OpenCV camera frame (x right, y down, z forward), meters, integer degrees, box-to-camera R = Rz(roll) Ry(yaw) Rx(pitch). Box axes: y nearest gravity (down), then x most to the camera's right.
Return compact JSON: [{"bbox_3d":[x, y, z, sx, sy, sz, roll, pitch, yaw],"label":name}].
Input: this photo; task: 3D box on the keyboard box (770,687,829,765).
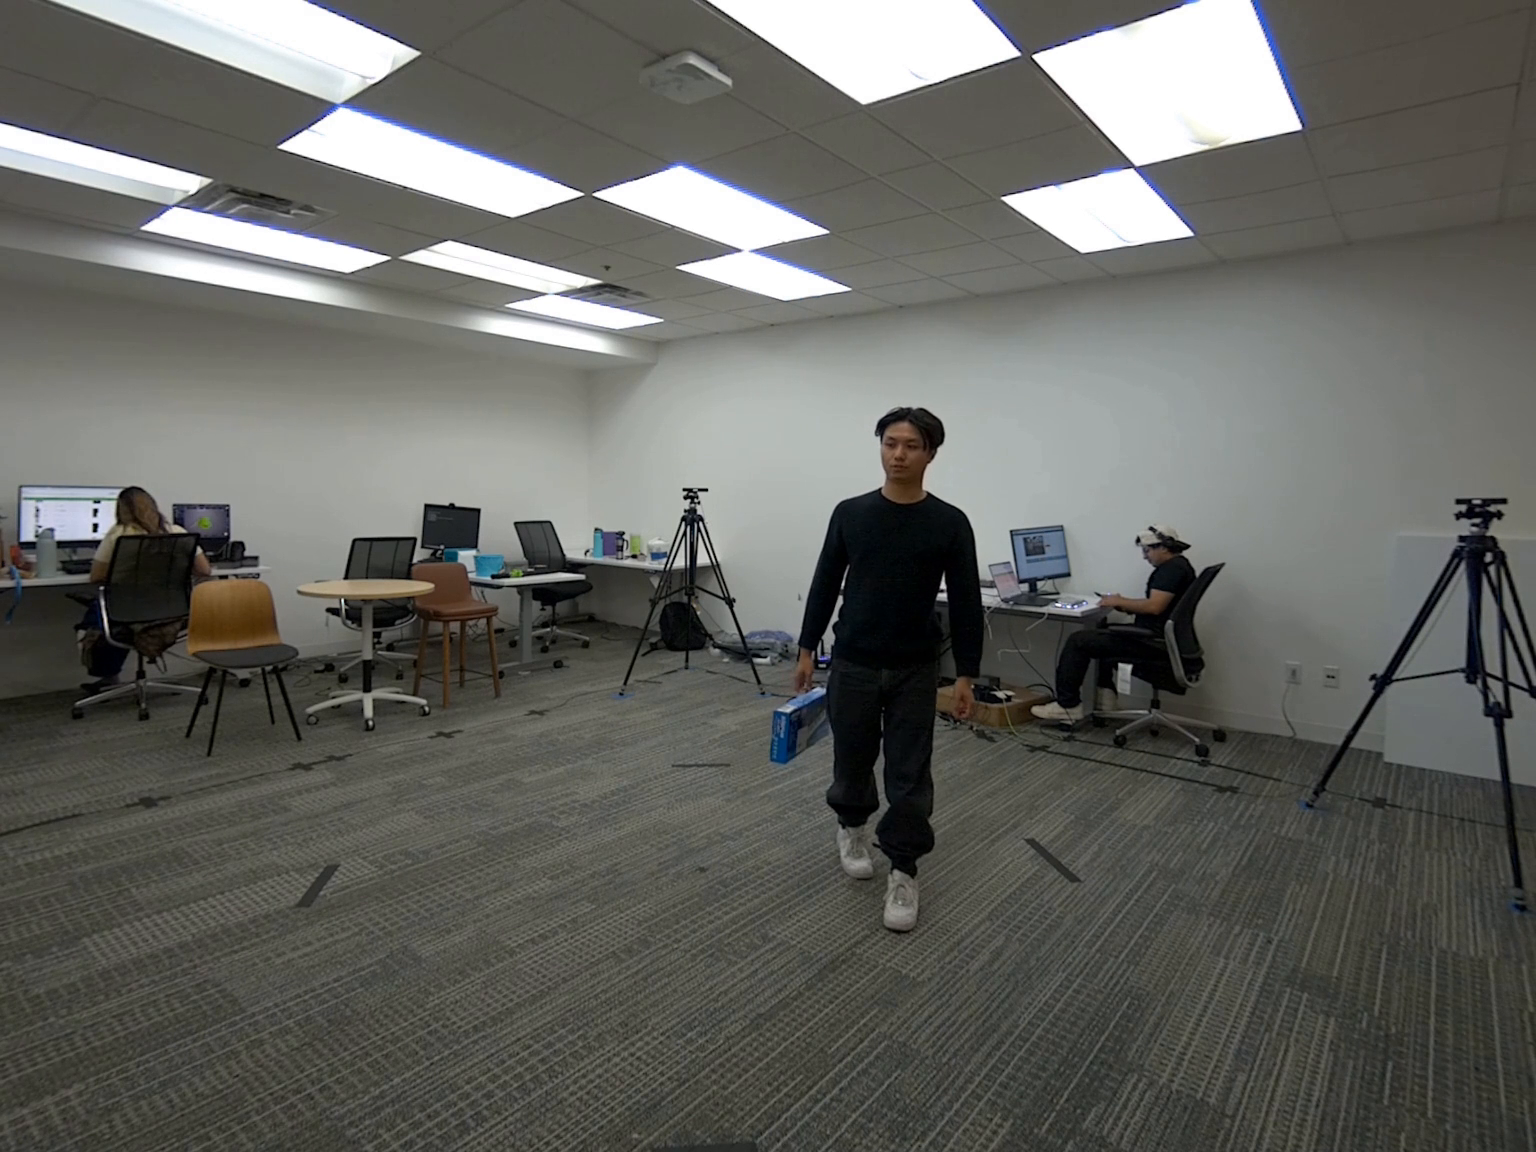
[{"bbox_3d":[0.113,0.517,3.001,0.060,0.175,0.427,4,5,23],"label":"keyboard box"}]
